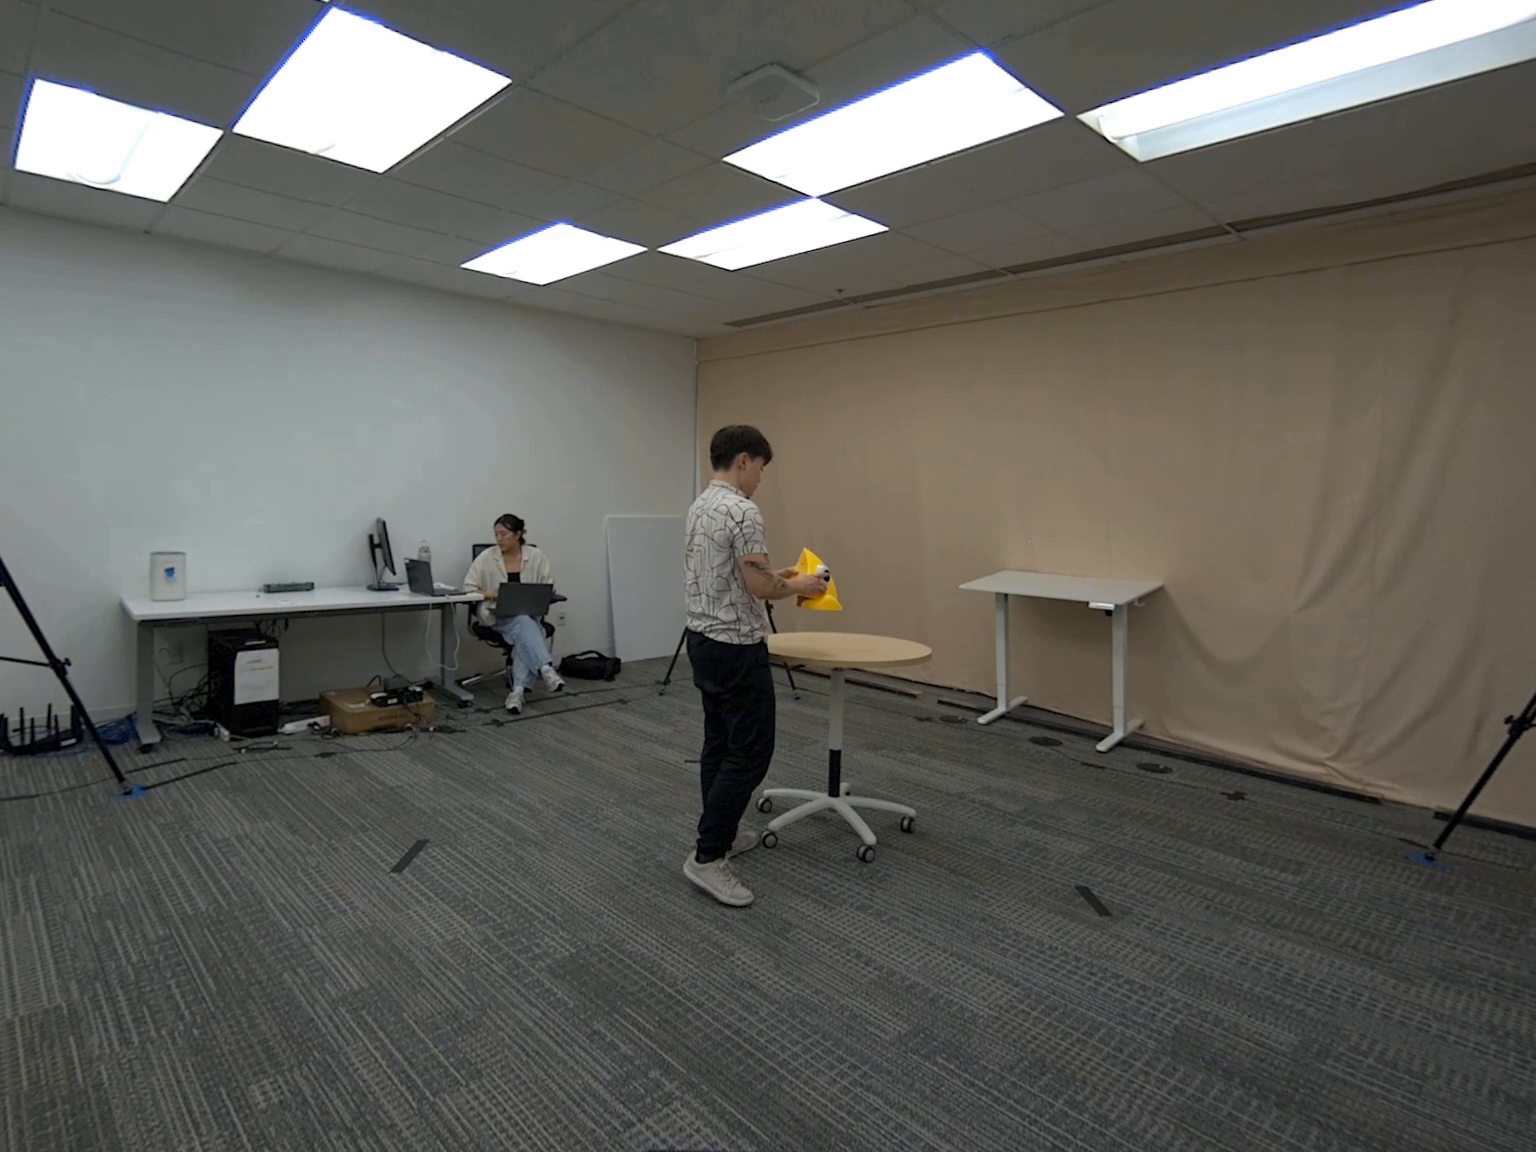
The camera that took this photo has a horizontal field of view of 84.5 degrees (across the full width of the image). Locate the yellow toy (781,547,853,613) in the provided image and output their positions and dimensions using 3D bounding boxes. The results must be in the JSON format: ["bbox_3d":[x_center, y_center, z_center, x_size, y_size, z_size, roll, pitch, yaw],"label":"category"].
[{"bbox_3d":[0.186,0.010,3.305,0.190,0.230,0.208,3,2,-21],"label":"yellow toy"}]
